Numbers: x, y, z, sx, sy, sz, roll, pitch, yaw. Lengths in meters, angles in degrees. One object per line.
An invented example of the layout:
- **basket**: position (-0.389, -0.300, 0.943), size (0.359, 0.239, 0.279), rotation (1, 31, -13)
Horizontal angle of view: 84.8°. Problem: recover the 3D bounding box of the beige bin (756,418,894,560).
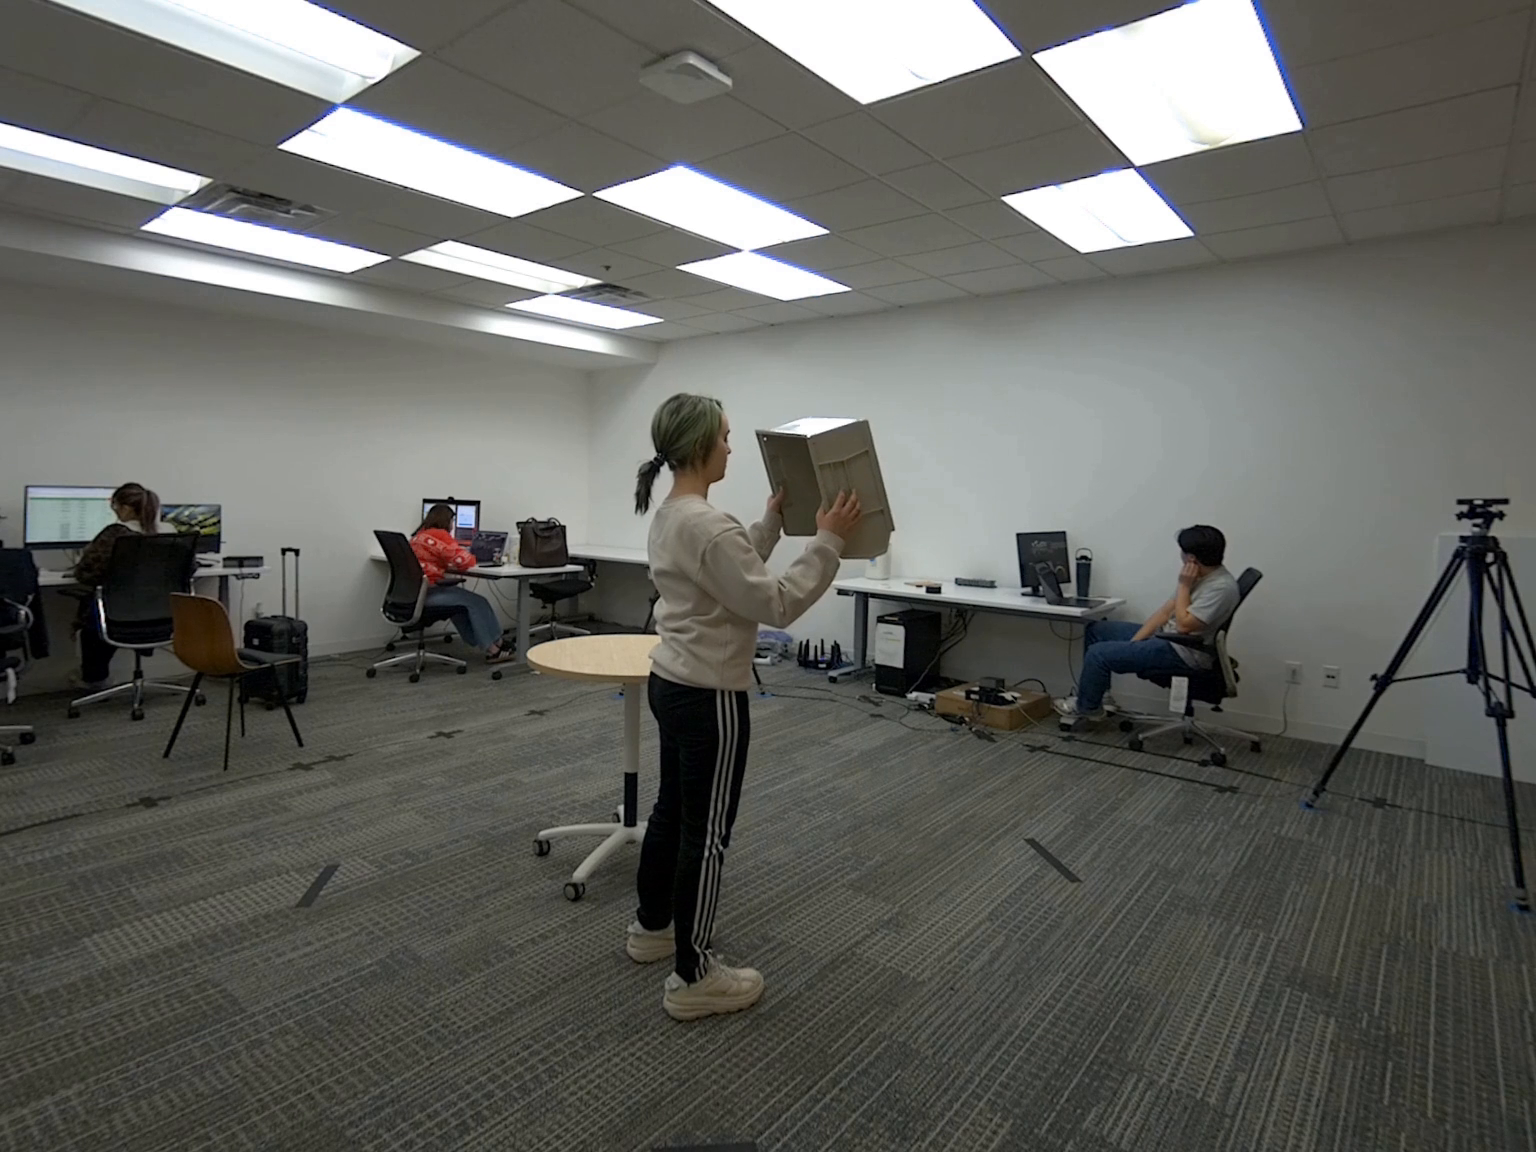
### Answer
- **beige bin**: position (0.154, -0.259, 2.431), size (0.187, 0.371, 0.433), rotation (-18, 15, -15)
